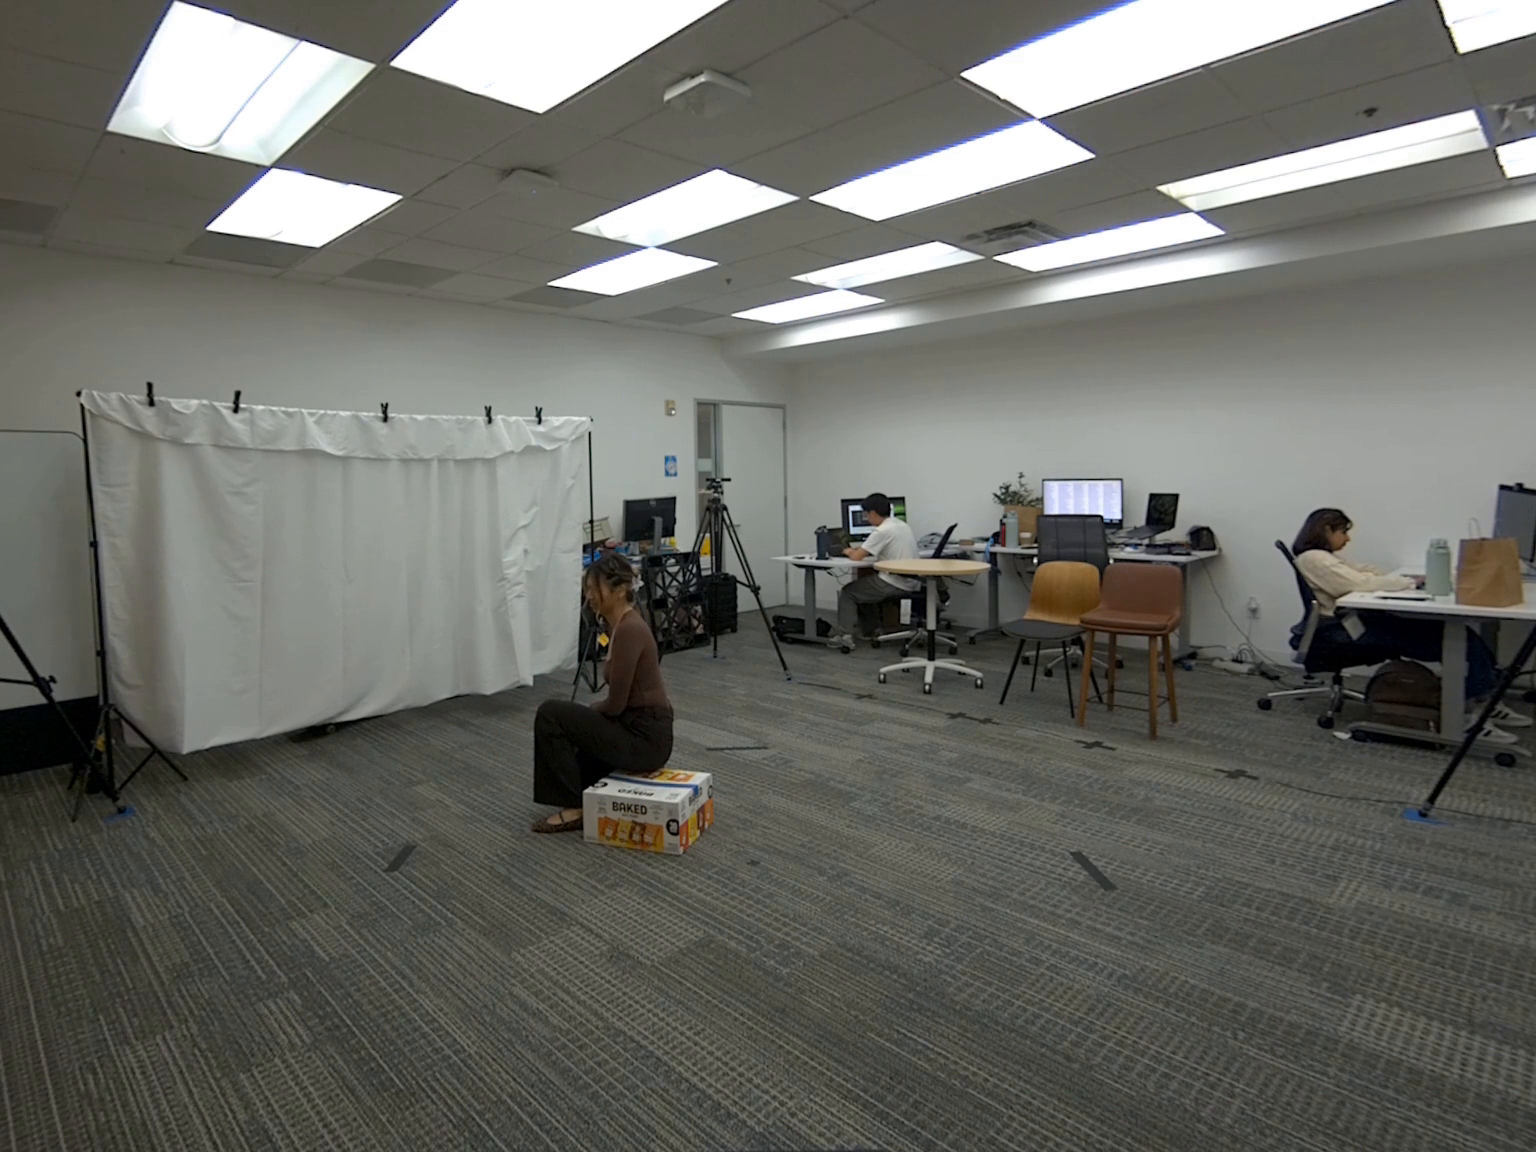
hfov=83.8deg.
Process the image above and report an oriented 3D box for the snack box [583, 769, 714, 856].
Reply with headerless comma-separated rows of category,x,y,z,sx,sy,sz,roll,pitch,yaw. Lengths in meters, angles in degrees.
snack box,-0.469,0.919,3.386,0.413,0.205,0.335,1,5,20
